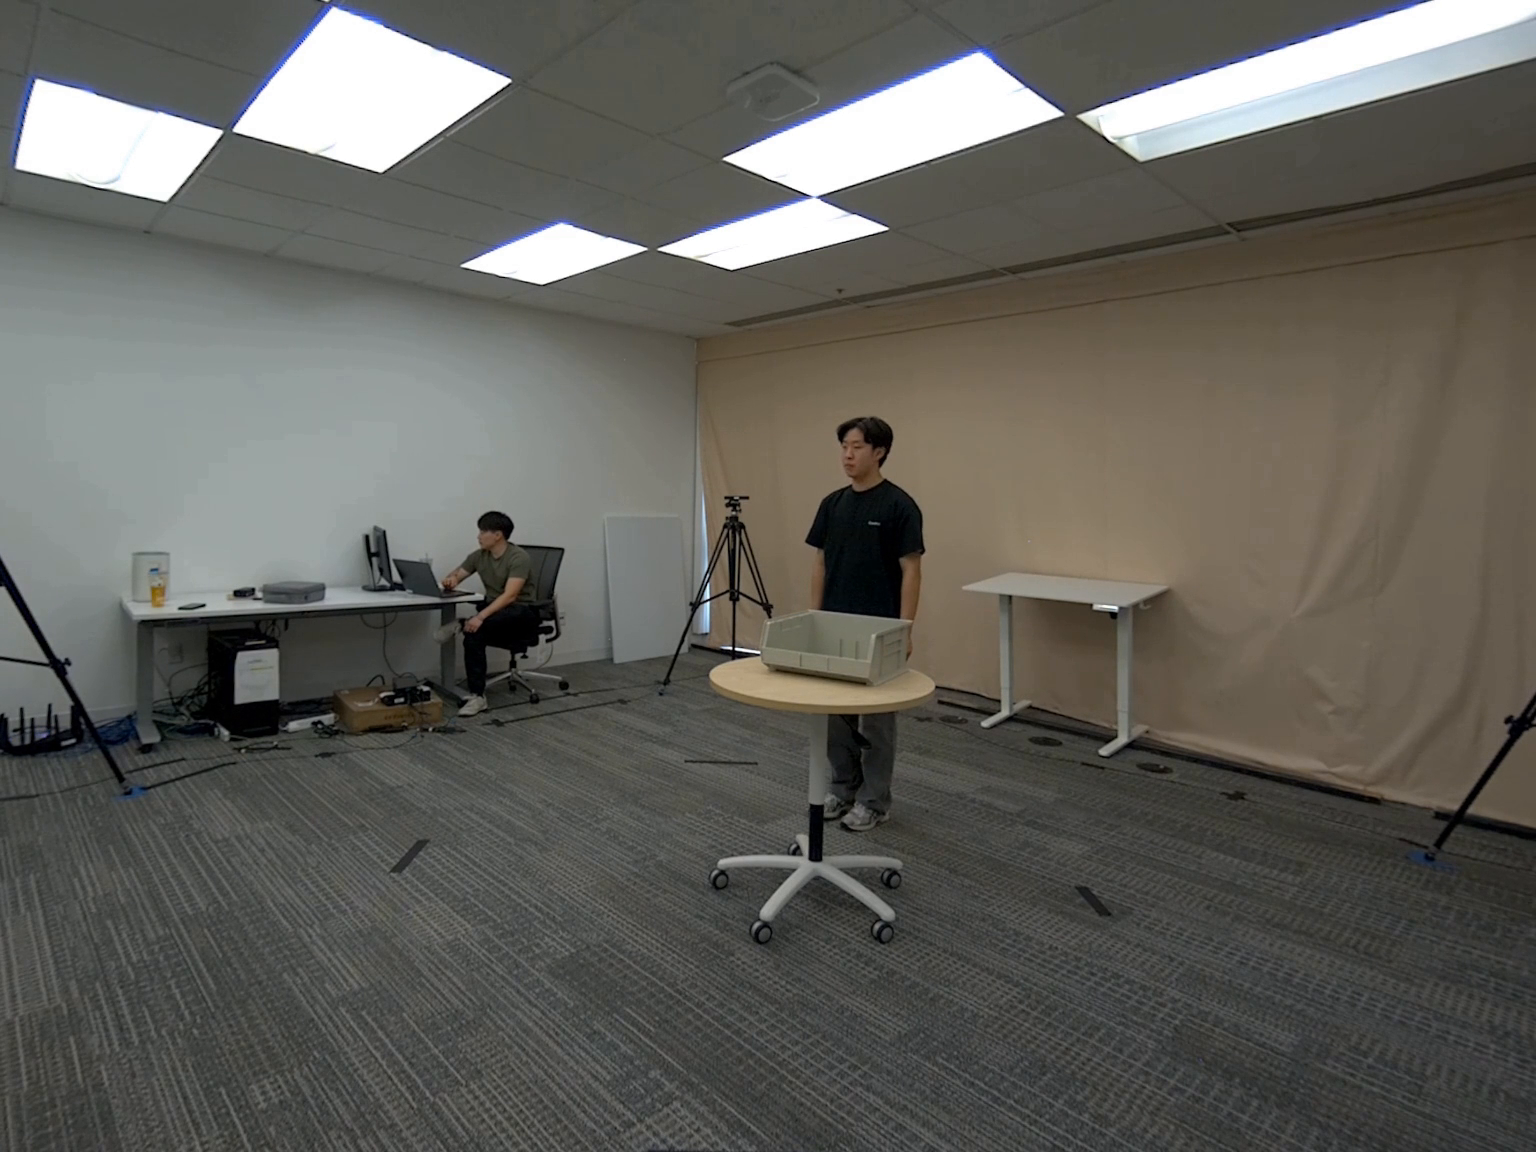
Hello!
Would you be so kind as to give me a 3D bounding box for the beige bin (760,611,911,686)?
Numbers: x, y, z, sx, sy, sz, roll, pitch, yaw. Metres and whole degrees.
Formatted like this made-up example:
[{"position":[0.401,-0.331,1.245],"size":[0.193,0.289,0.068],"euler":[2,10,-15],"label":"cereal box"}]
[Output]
[{"position":[0.240,0.251,2.979],"size":[0.432,0.188,0.370],"euler":[3,4,31],"label":"beige bin"}]
